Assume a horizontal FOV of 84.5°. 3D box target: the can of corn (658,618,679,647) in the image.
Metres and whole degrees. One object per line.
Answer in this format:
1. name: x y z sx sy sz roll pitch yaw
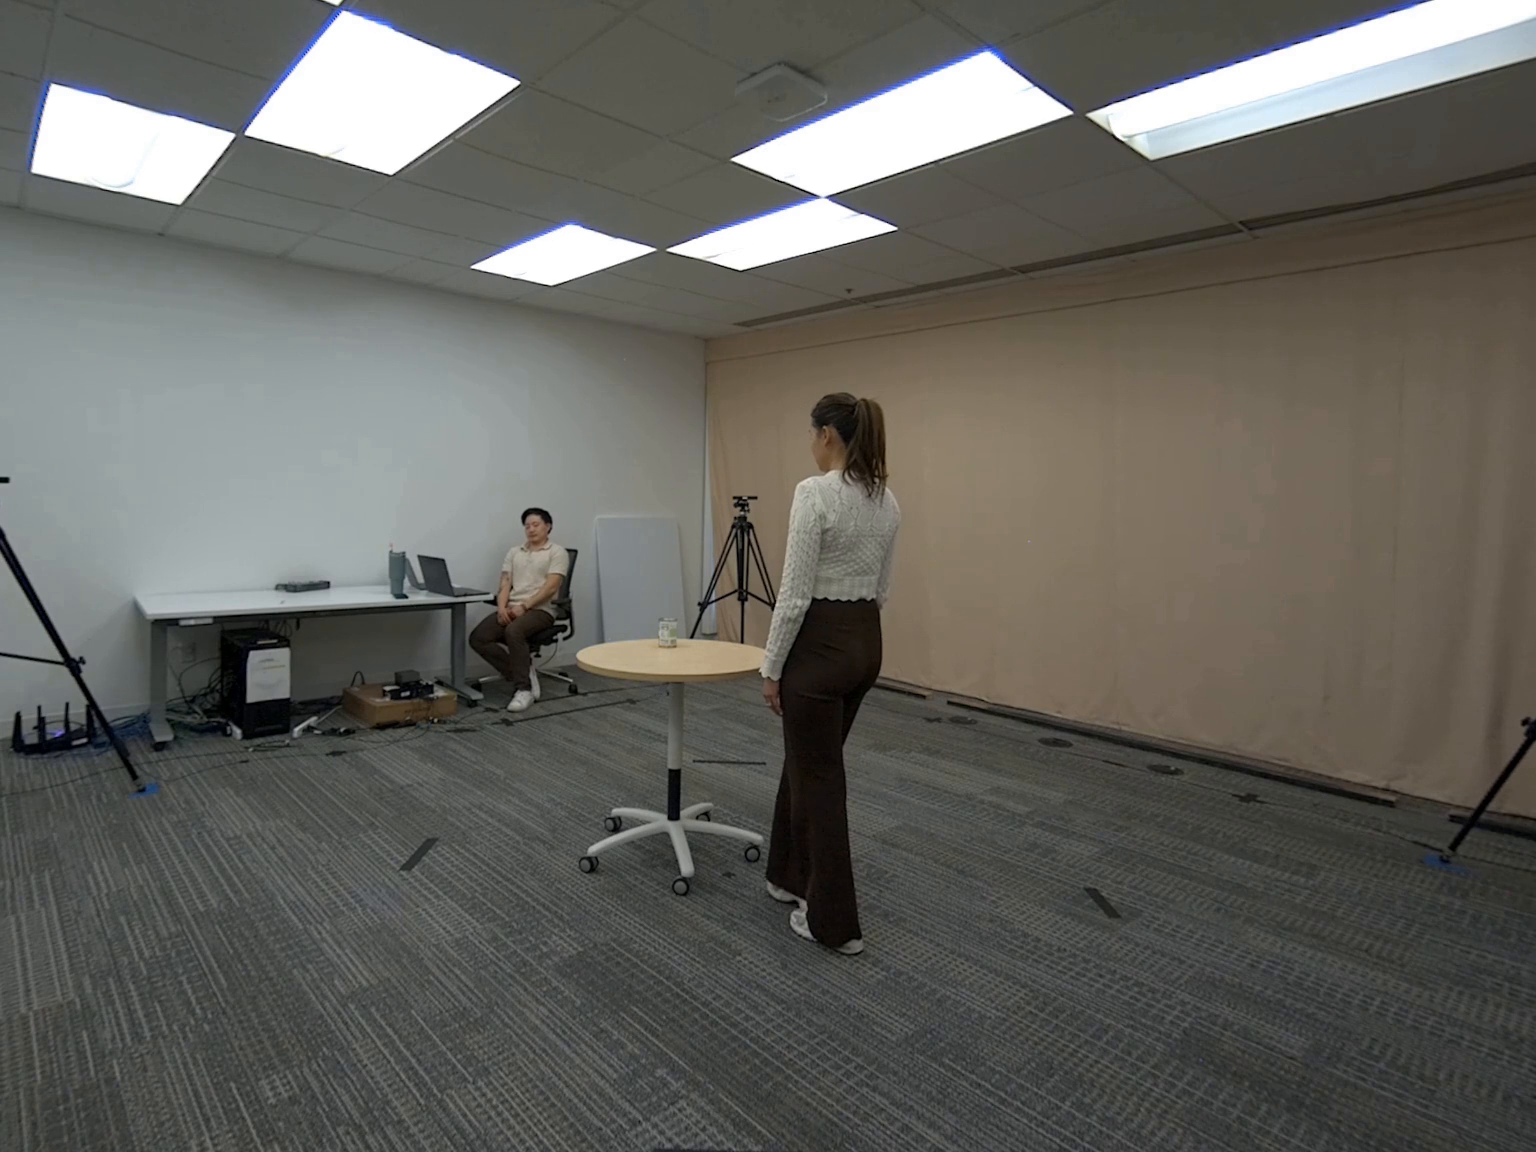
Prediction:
1. can of corn: -0.421 0.234 3.411 0.074 0.111 0.074 0 3 -1
